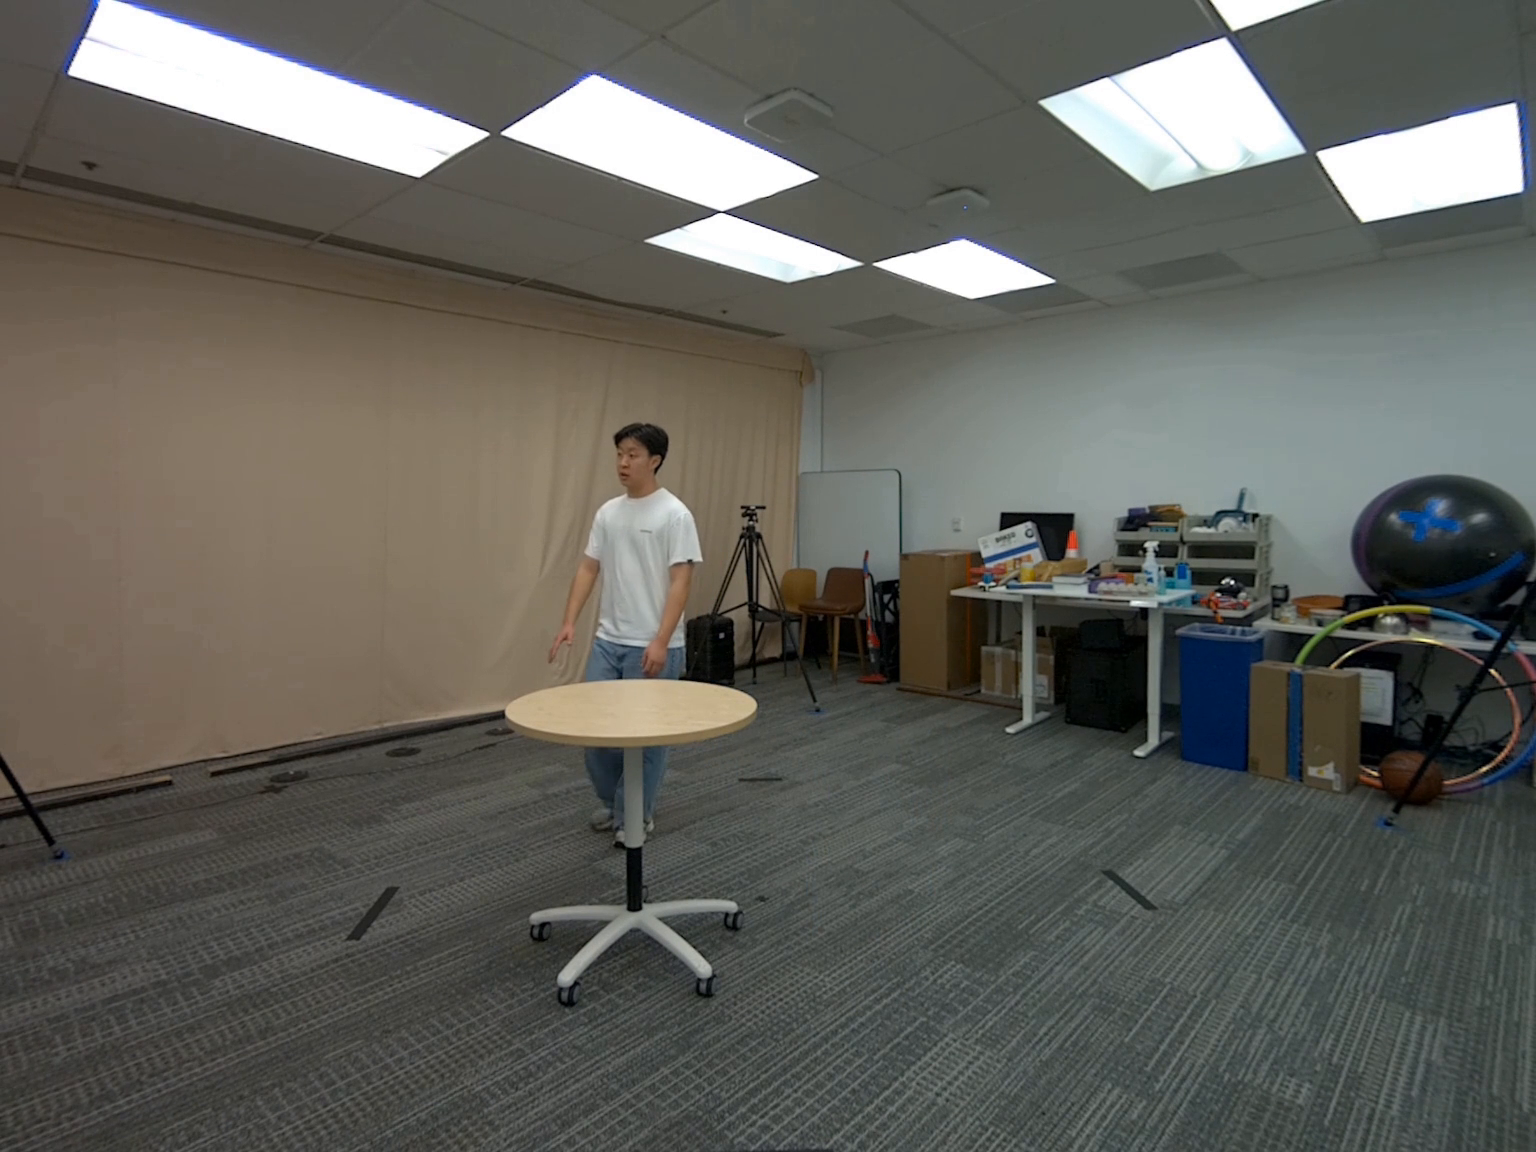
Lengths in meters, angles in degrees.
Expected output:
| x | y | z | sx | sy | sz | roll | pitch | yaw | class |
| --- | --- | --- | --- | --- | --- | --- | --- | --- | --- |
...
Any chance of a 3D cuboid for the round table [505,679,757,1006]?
| x | y | z | sx | sy | sz | roll | pitch | yaw | class |
| --- | --- | --- | --- | --- | --- | --- | --- | --- | --- |
| -0.404 | 0.788 | 2.612 | 0.763 | 0.792 | 0.766 | 0 | 4 | -2 | round table |
